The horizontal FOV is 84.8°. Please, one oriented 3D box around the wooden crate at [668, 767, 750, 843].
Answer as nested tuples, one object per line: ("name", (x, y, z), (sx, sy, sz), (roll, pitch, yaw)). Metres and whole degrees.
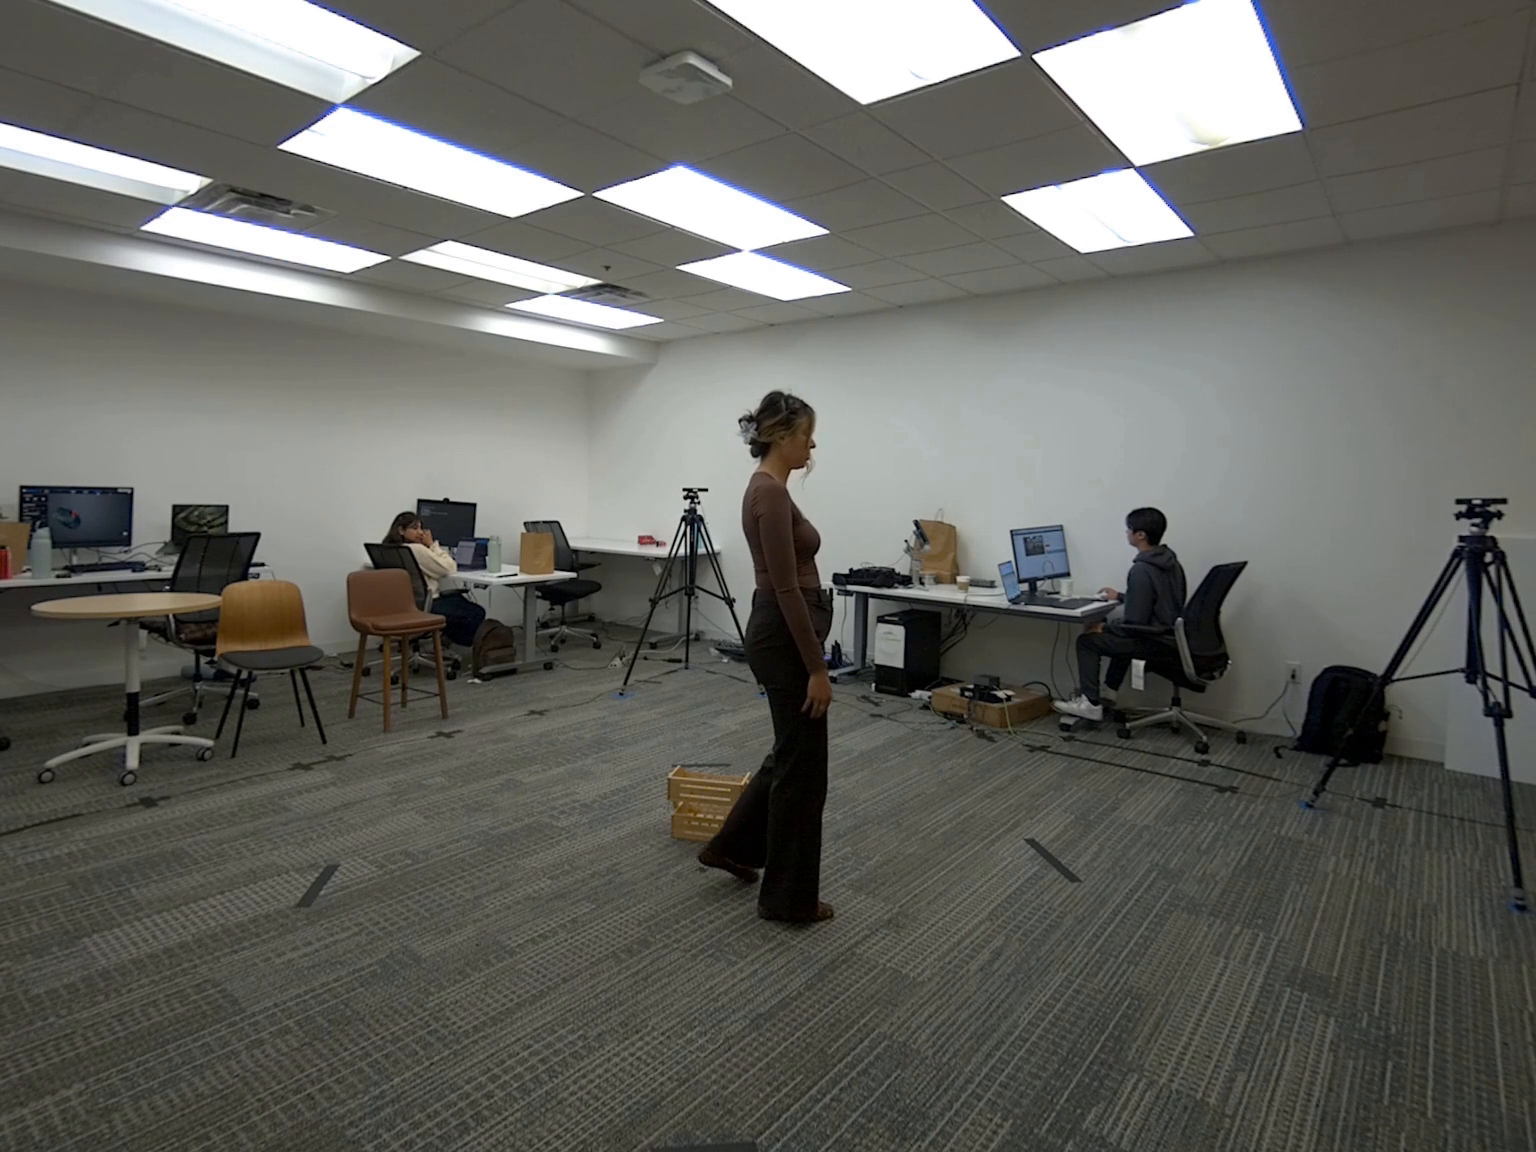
("wooden crate", (-0.231, 0.902, 3.449), (0.329, 0.272, 0.299), (2, 5, 12))
